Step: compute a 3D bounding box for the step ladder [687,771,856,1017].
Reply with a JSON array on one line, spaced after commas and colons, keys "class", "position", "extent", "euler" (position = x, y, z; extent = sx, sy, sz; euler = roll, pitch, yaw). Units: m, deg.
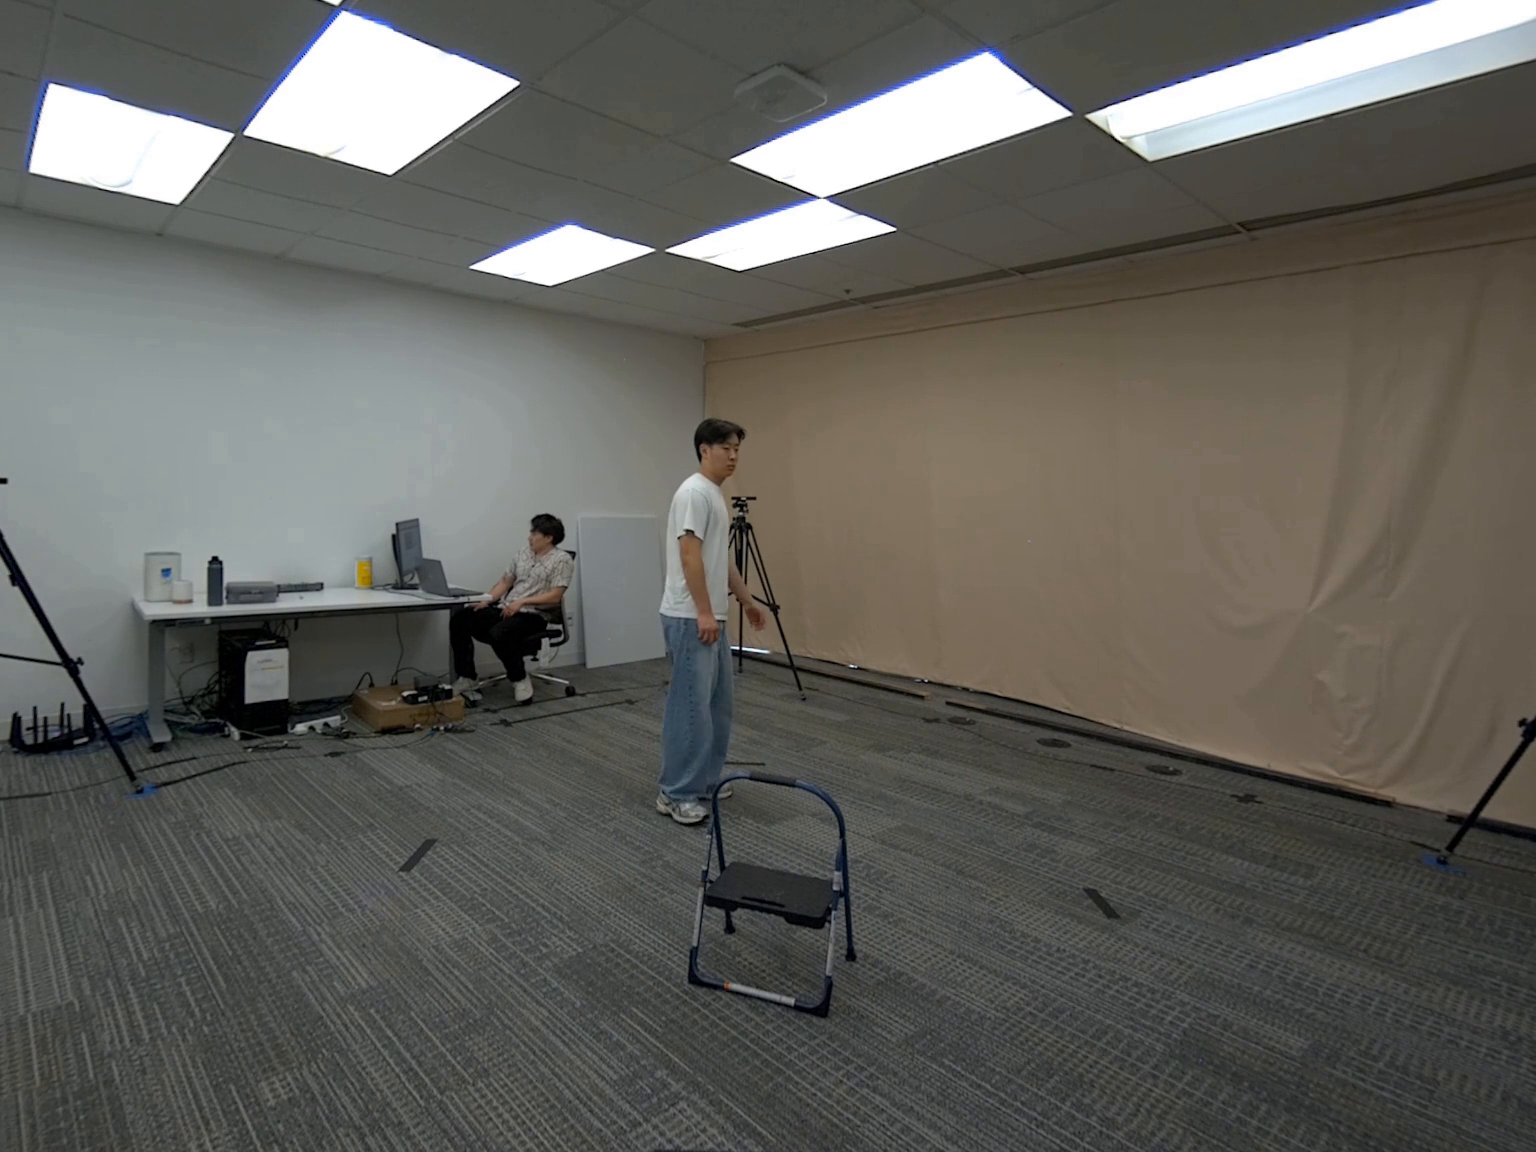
[{"class": "step ladder", "position": [0.022, 0.866, 2.476], "extent": [0.437, 0.604, 0.344], "euler": [3, 4, 19]}]
